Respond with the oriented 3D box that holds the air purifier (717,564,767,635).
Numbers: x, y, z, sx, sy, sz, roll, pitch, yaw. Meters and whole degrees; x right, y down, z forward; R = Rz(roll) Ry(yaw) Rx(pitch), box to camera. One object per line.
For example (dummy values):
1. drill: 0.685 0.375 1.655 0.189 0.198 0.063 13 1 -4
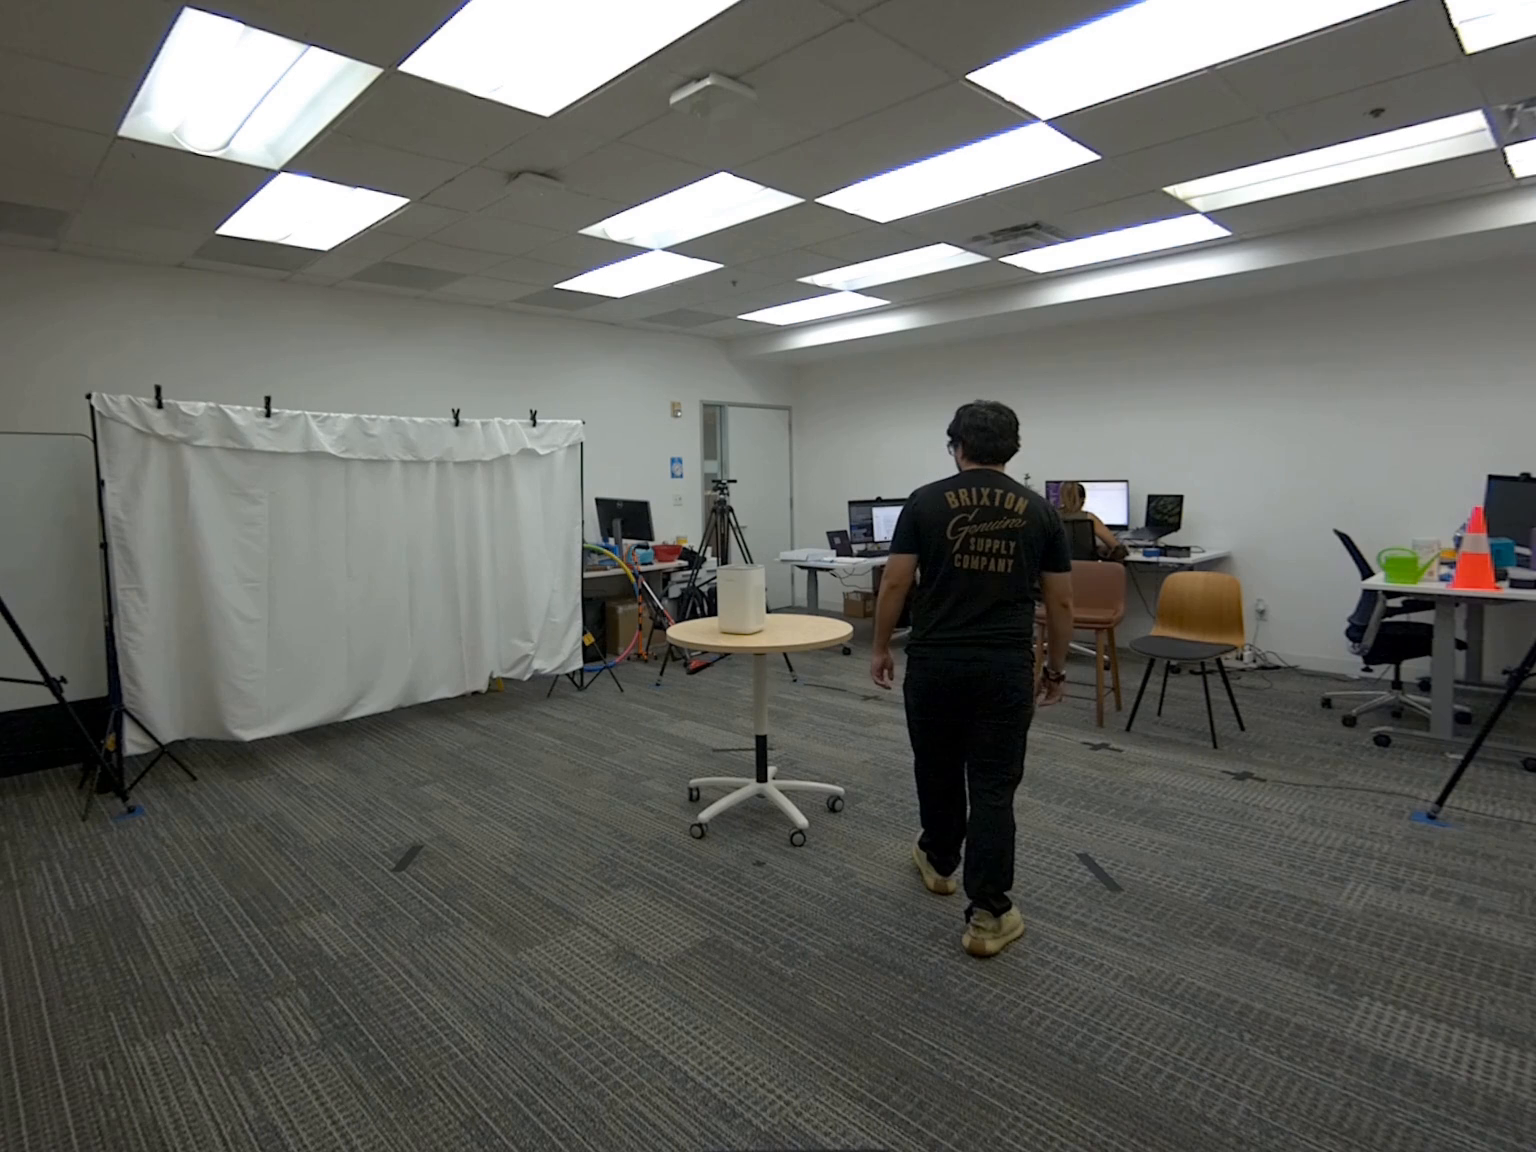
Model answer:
1. air purifier: -0.107 0.089 3.458 0.175 0.264 0.168 2 6 27
